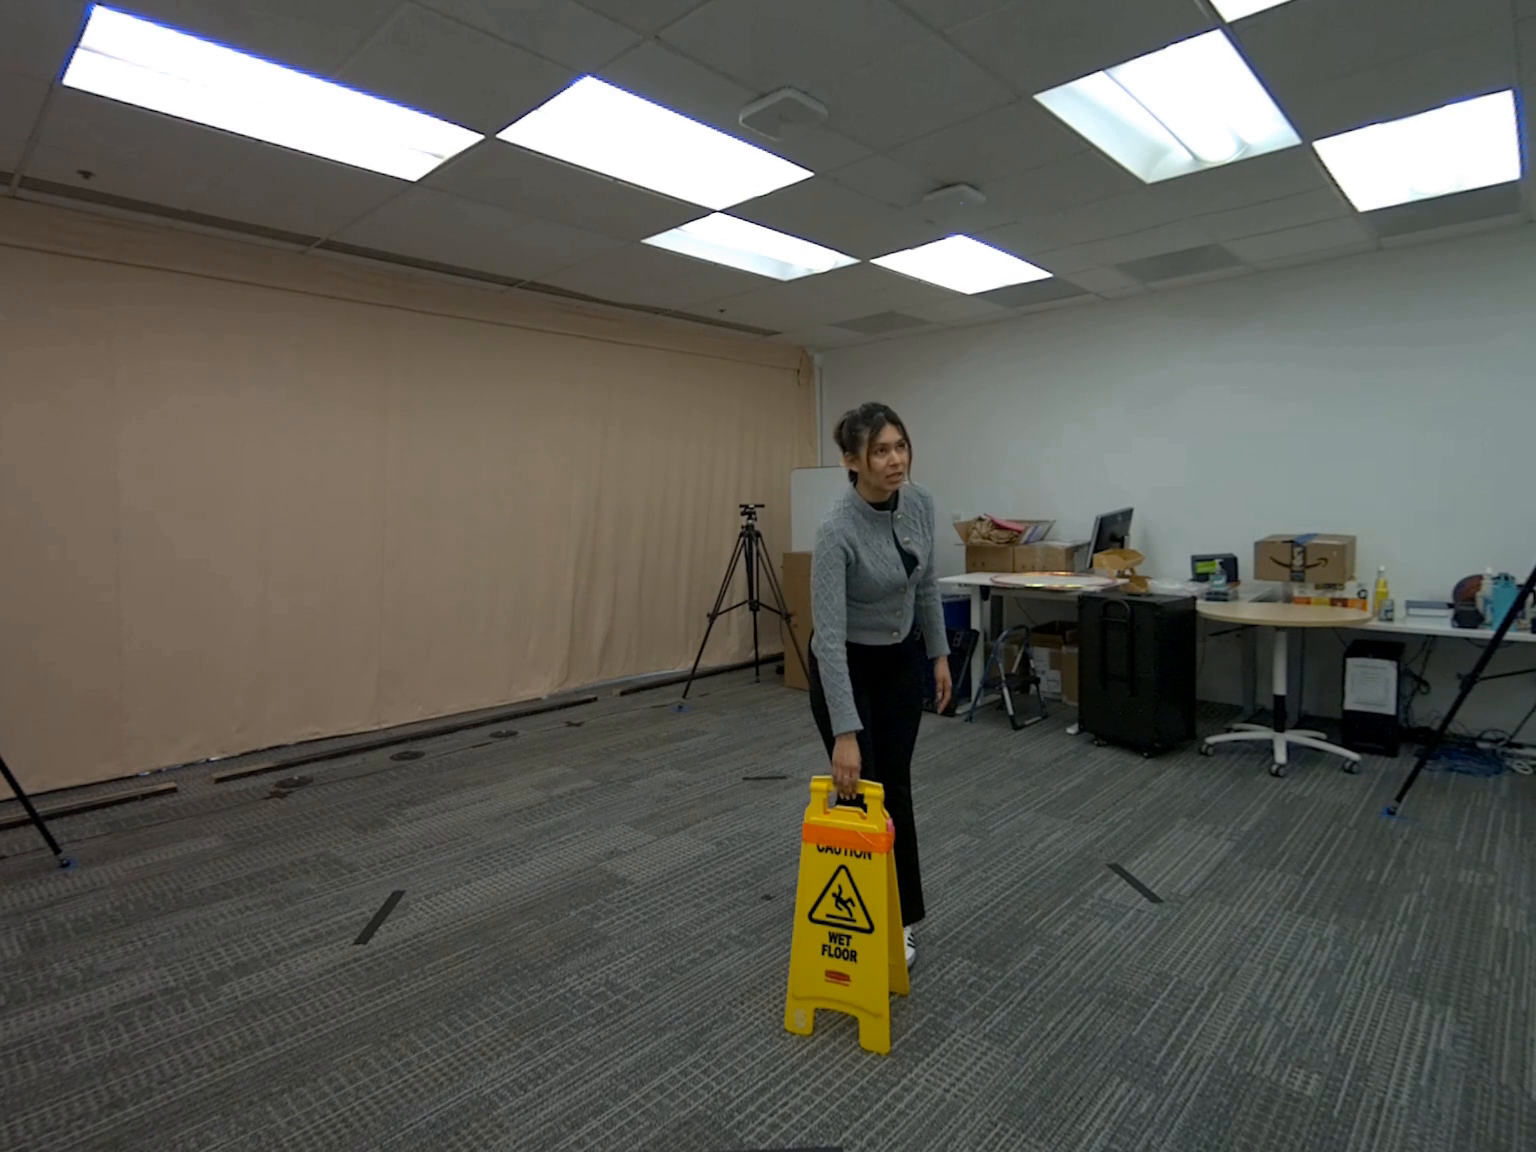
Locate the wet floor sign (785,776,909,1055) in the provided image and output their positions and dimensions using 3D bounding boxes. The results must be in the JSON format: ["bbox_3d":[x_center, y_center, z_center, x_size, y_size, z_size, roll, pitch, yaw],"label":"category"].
[{"bbox_3d":[0.222,0.875,2.285,0.289,0.644,0.284,0,4,22],"label":"wet floor sign"}]
